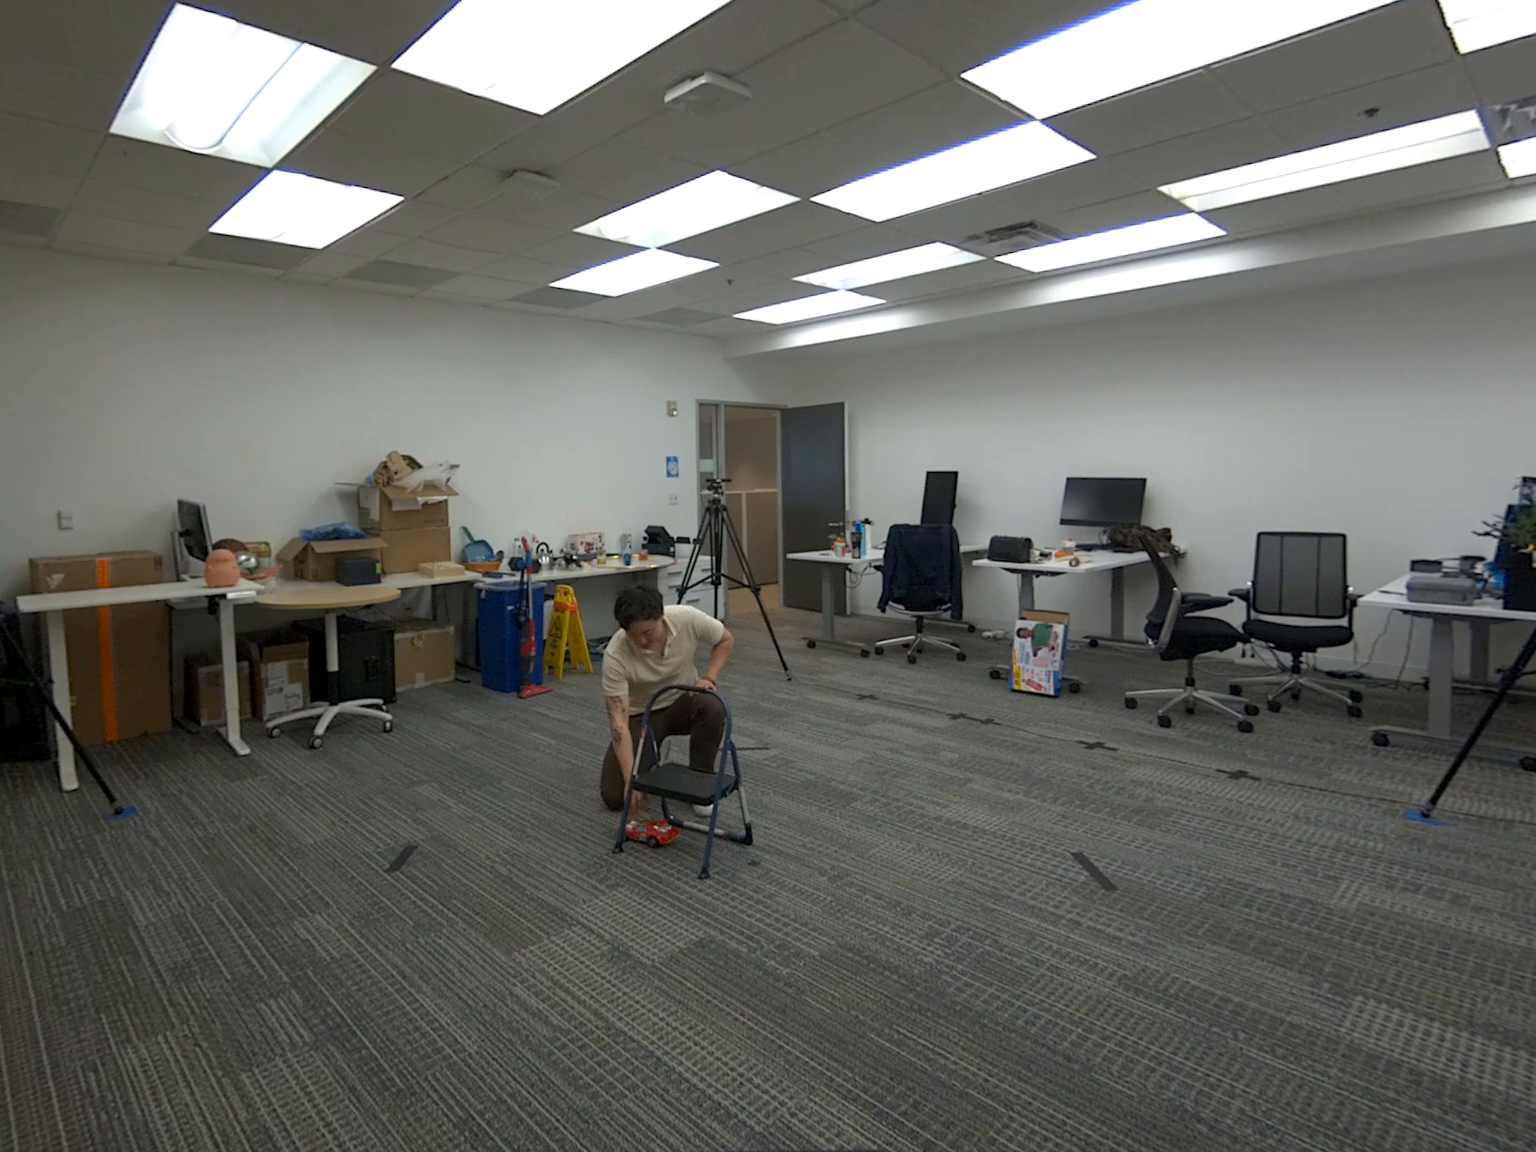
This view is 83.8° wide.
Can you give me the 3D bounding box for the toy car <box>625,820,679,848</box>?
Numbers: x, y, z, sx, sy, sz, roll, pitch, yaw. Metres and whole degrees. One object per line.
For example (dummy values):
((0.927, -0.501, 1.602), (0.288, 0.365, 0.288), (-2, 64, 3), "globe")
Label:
((-0.463, 1.001, 3.317), (0.260, 0.083, 0.127), (-11, 0, 30), "toy car")
